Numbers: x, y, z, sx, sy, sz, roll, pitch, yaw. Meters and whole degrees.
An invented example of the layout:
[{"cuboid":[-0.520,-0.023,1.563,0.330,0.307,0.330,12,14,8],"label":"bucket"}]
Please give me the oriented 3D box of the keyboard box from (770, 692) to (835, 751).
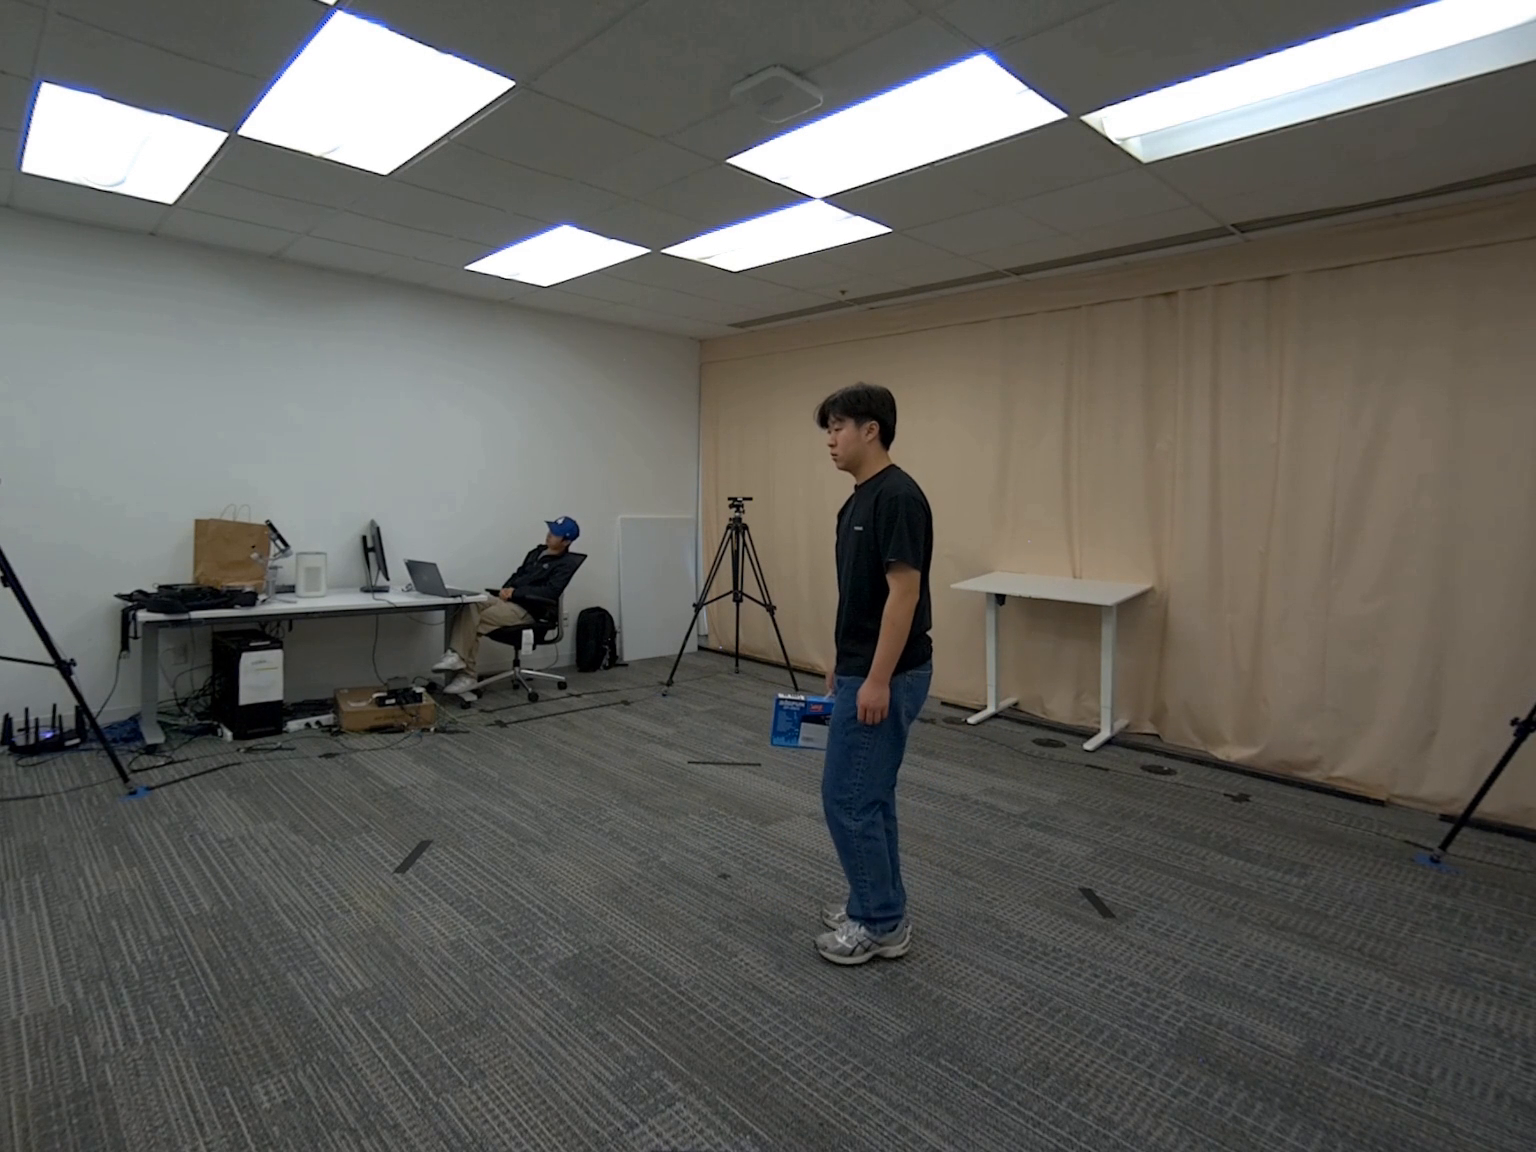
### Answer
[{"cuboid":[0.231,0.516,2.927,0.436,0.175,0.059,6,5,-2],"label":"keyboard box"}]
